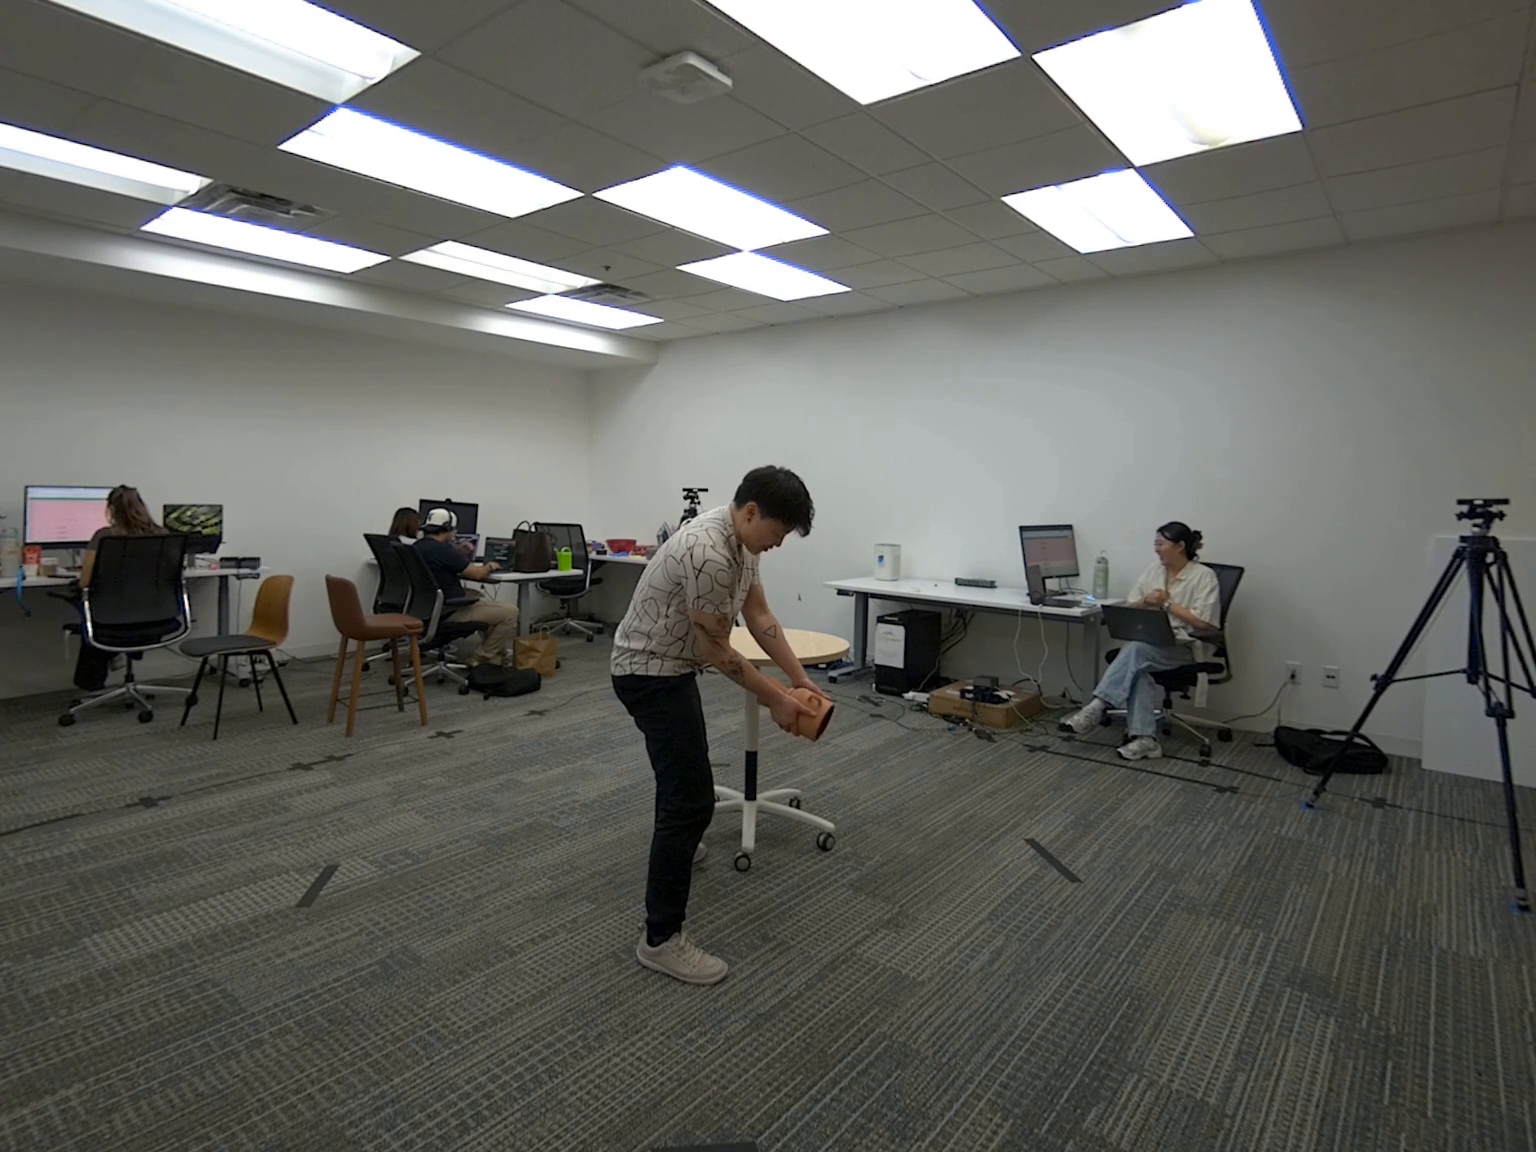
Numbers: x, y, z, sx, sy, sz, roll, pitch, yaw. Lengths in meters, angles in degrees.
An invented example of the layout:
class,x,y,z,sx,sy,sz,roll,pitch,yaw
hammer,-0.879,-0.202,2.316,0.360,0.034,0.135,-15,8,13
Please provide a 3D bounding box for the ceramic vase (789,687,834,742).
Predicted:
class,x,y,z,sx,sy,sz,roll,pitch,yaw
ceramic vase,0.080,0.405,2.674,0.226,0.158,0.131,24,6,21
